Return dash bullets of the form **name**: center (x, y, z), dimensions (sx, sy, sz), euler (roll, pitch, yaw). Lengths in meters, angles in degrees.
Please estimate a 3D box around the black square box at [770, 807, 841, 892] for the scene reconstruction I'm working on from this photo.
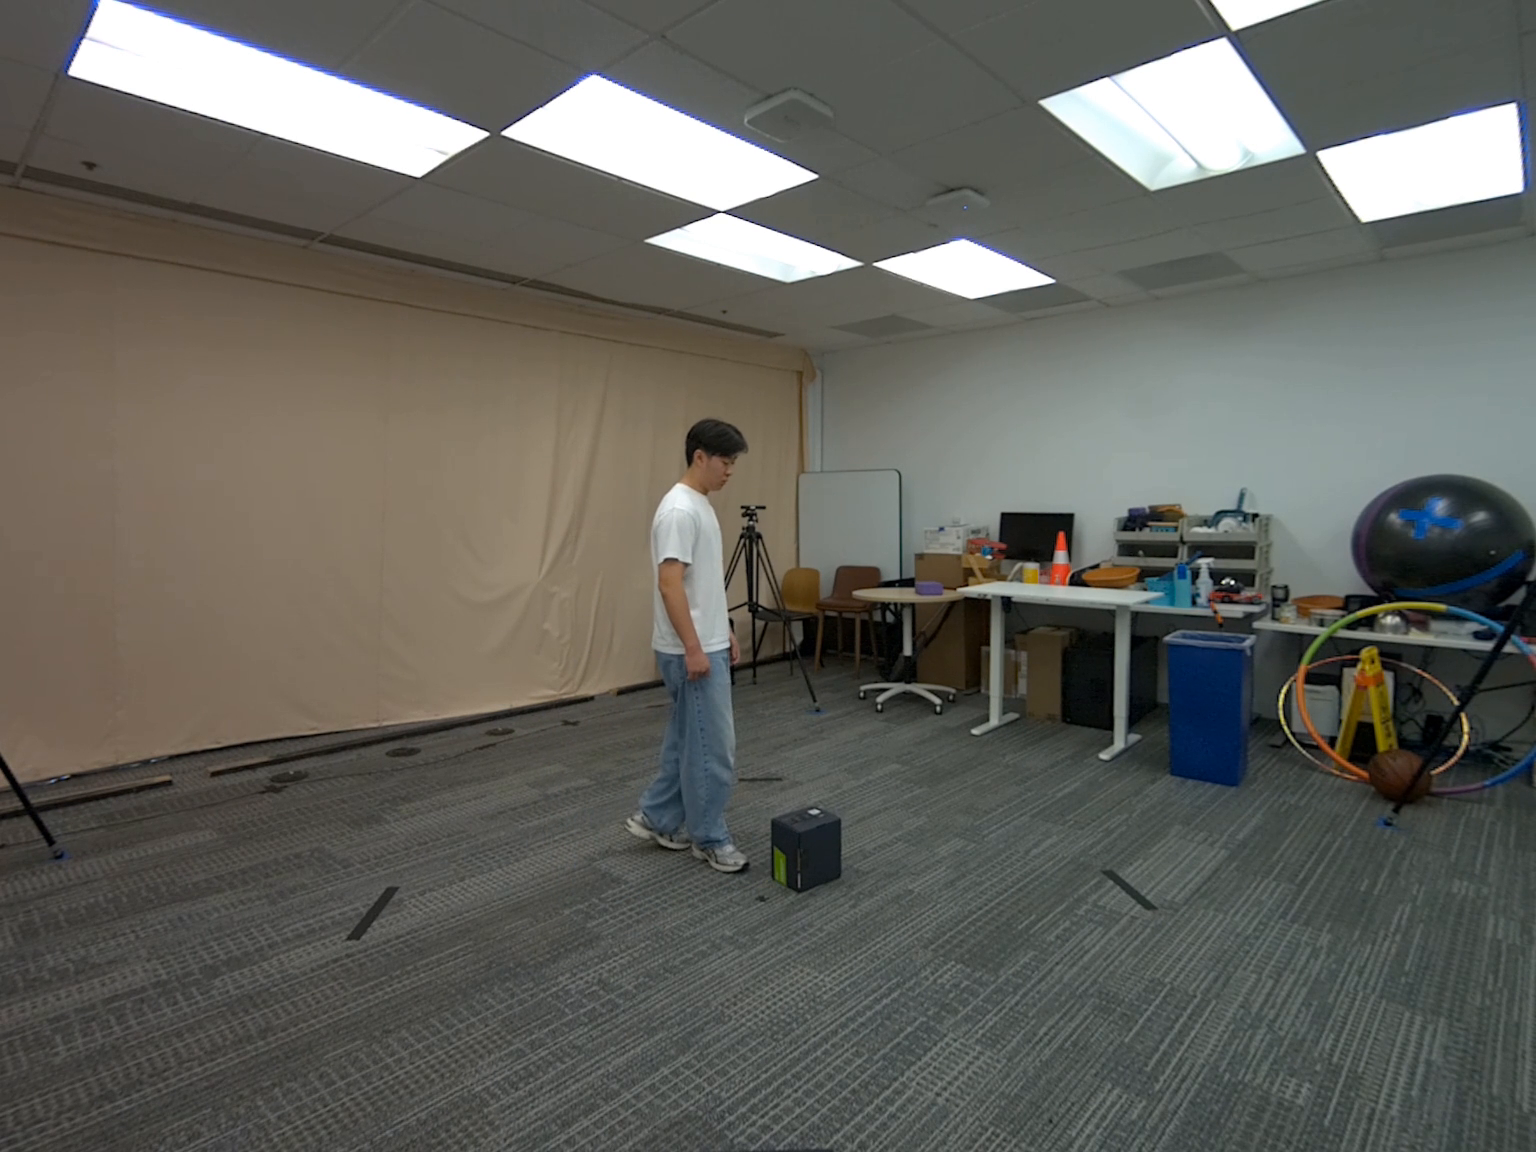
- **black square box**: center (0.144, 1.011, 3.129), dimensions (0.210, 0.227, 0.161), euler (-4, 6, -39)
